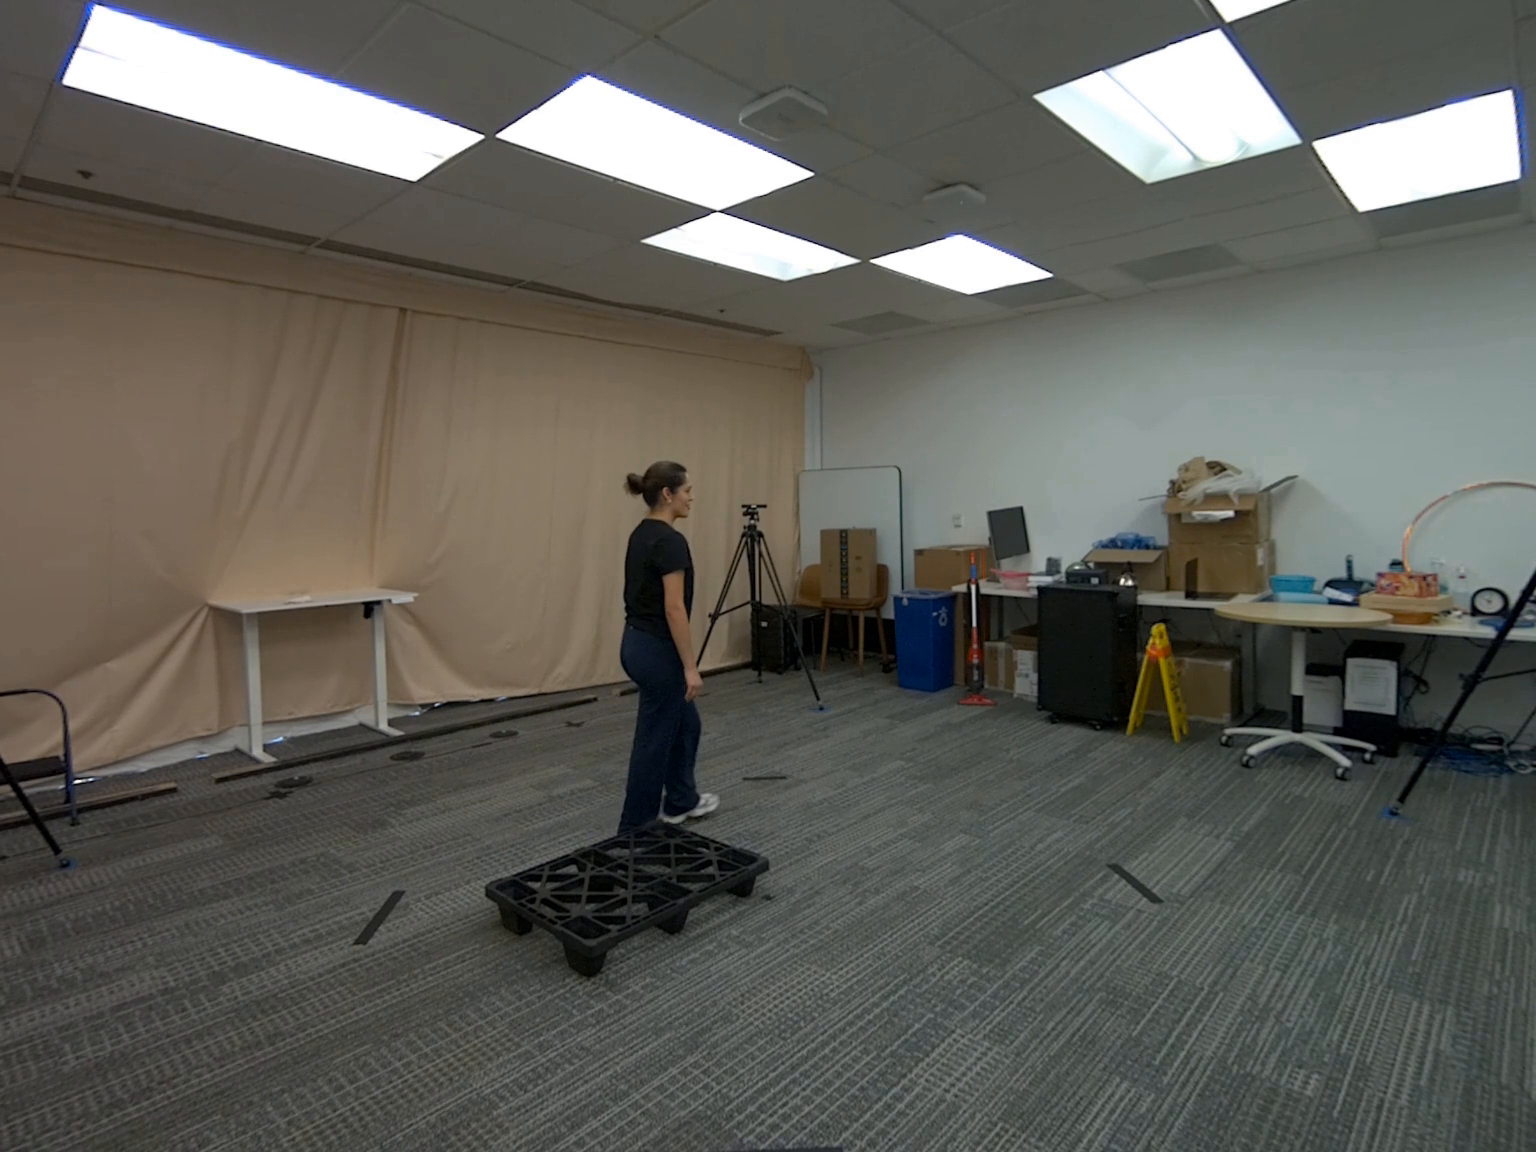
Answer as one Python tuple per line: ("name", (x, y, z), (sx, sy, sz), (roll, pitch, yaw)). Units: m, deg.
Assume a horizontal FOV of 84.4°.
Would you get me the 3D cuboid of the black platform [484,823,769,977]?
("black platform", (-0.454, 1.089, 2.912), (0.625, 0.143, 0.781), (4, 7, 42))
